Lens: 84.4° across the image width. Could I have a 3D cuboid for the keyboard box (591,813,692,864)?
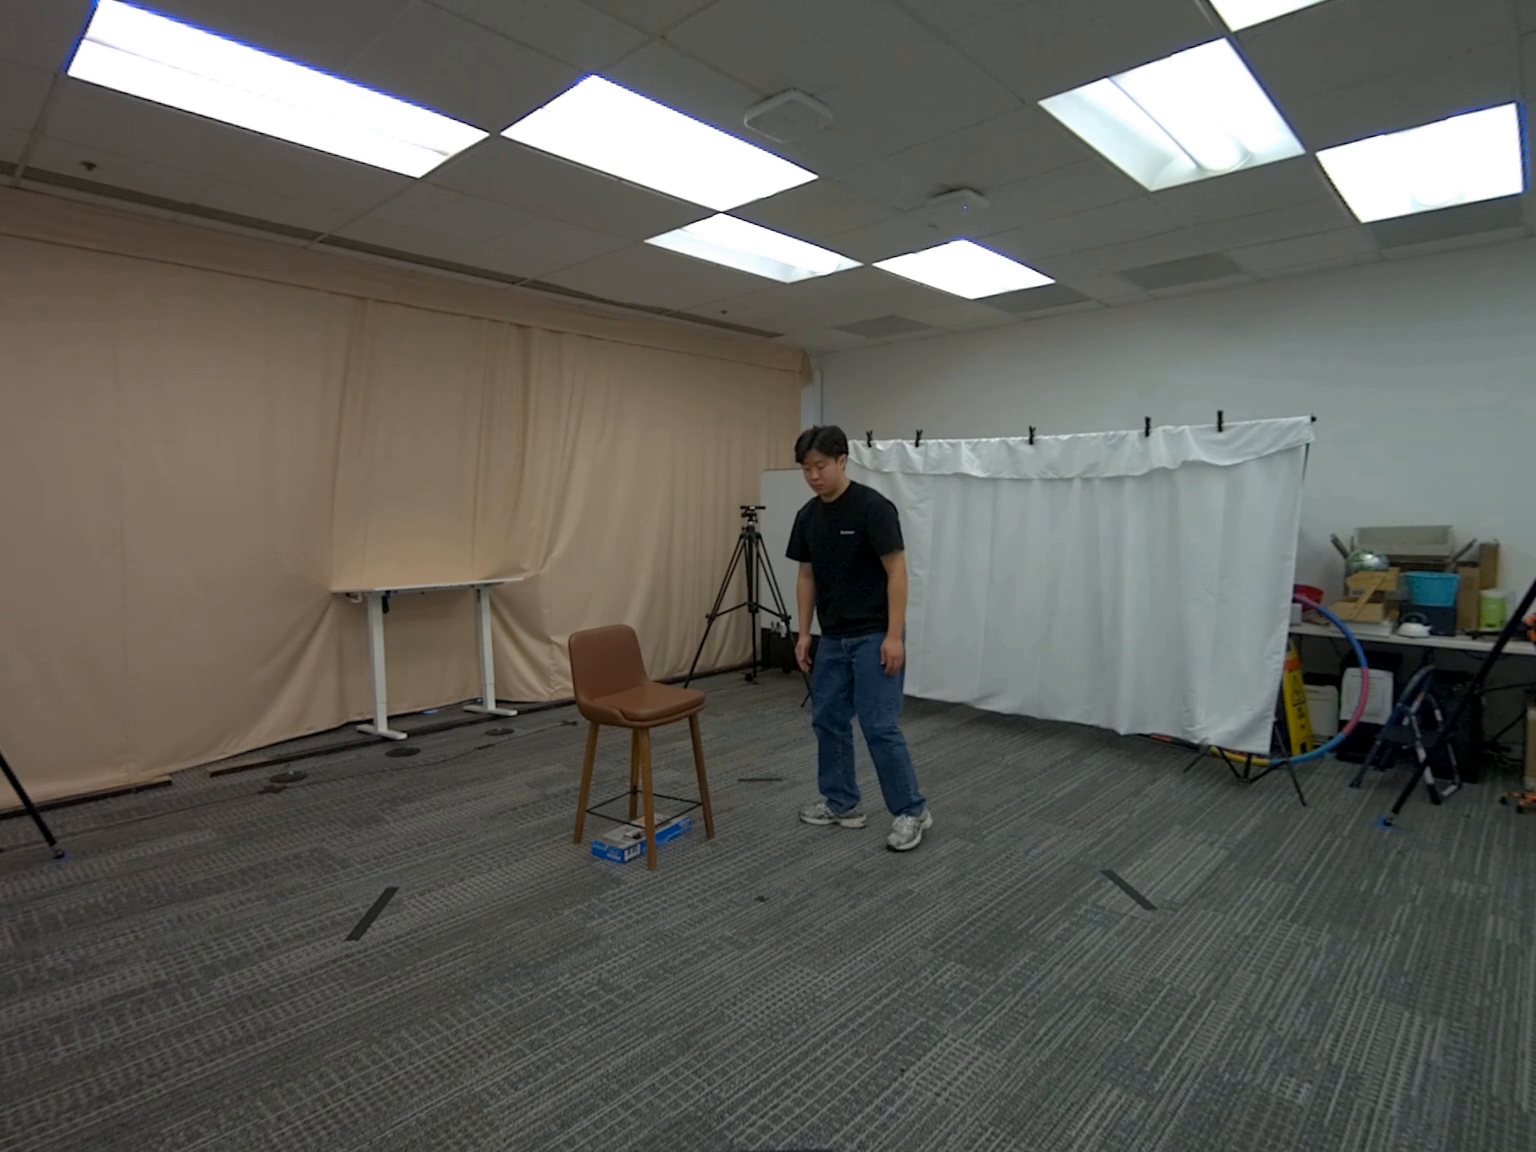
[{"bbox_3d":[-0.522,1.078,3.510,0.181,0.059,0.424,2,5,34],"label":"keyboard box"}]
